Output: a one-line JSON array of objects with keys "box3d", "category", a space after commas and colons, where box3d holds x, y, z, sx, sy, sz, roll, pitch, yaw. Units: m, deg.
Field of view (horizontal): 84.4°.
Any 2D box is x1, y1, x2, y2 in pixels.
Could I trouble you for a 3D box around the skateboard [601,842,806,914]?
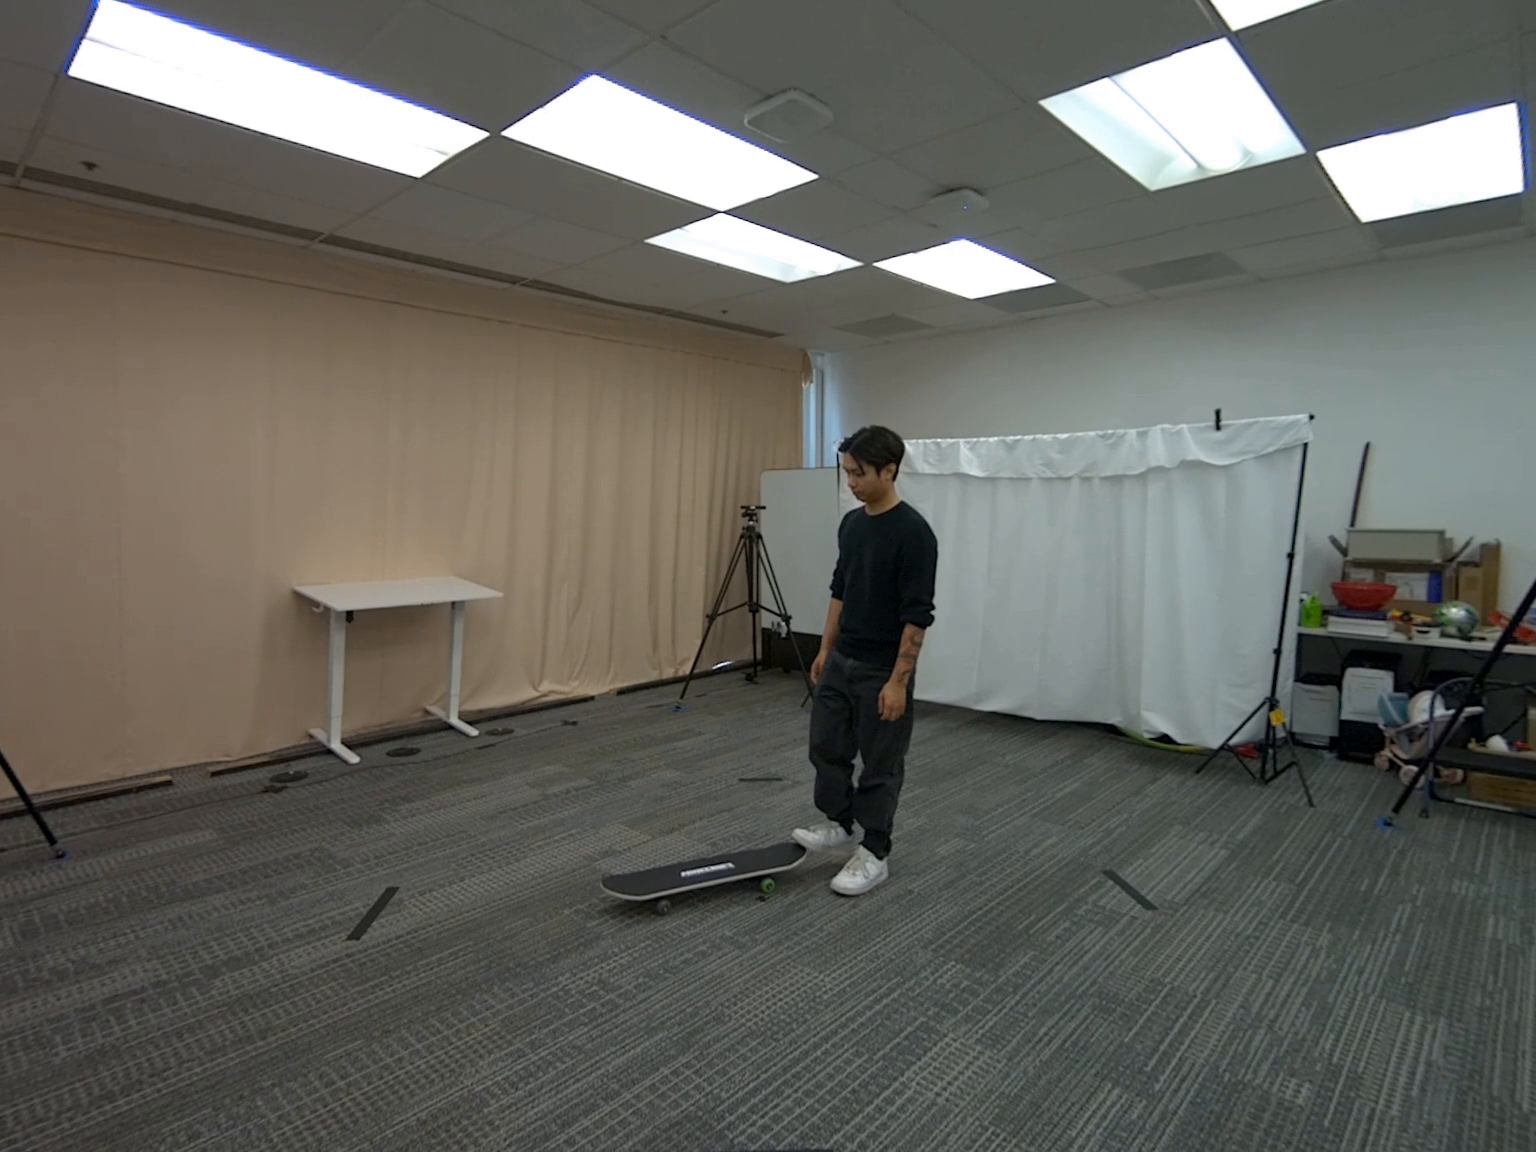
[{"box3d": [-0.214, 1.088, 3.014, 0.767, 0.110, 0.198, -2, 4, -24], "category": "skateboard"}]
